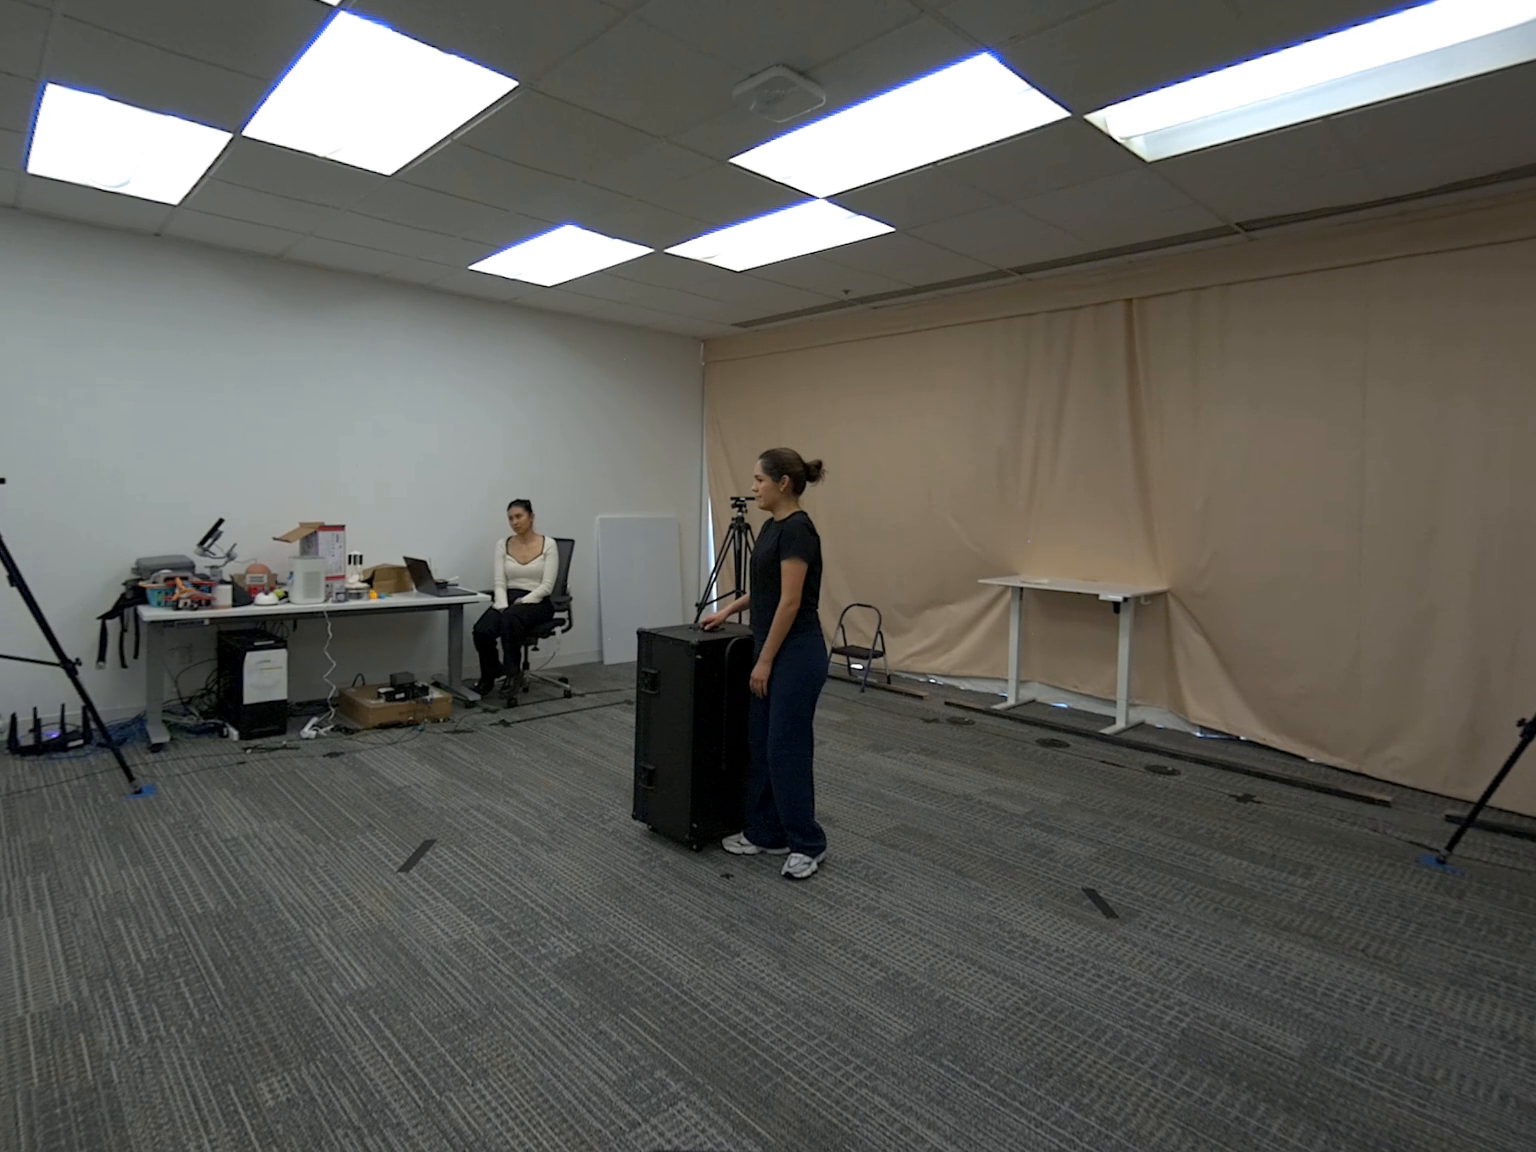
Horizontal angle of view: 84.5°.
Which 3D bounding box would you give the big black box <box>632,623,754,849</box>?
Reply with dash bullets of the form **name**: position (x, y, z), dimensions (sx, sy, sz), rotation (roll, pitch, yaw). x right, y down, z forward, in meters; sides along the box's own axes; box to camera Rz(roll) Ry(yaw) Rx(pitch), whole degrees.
- **big black box**: position (-0.247, 0.648, 3.467), dimensions (0.406, 0.859, 0.509), rotation (5, 5, 44)
